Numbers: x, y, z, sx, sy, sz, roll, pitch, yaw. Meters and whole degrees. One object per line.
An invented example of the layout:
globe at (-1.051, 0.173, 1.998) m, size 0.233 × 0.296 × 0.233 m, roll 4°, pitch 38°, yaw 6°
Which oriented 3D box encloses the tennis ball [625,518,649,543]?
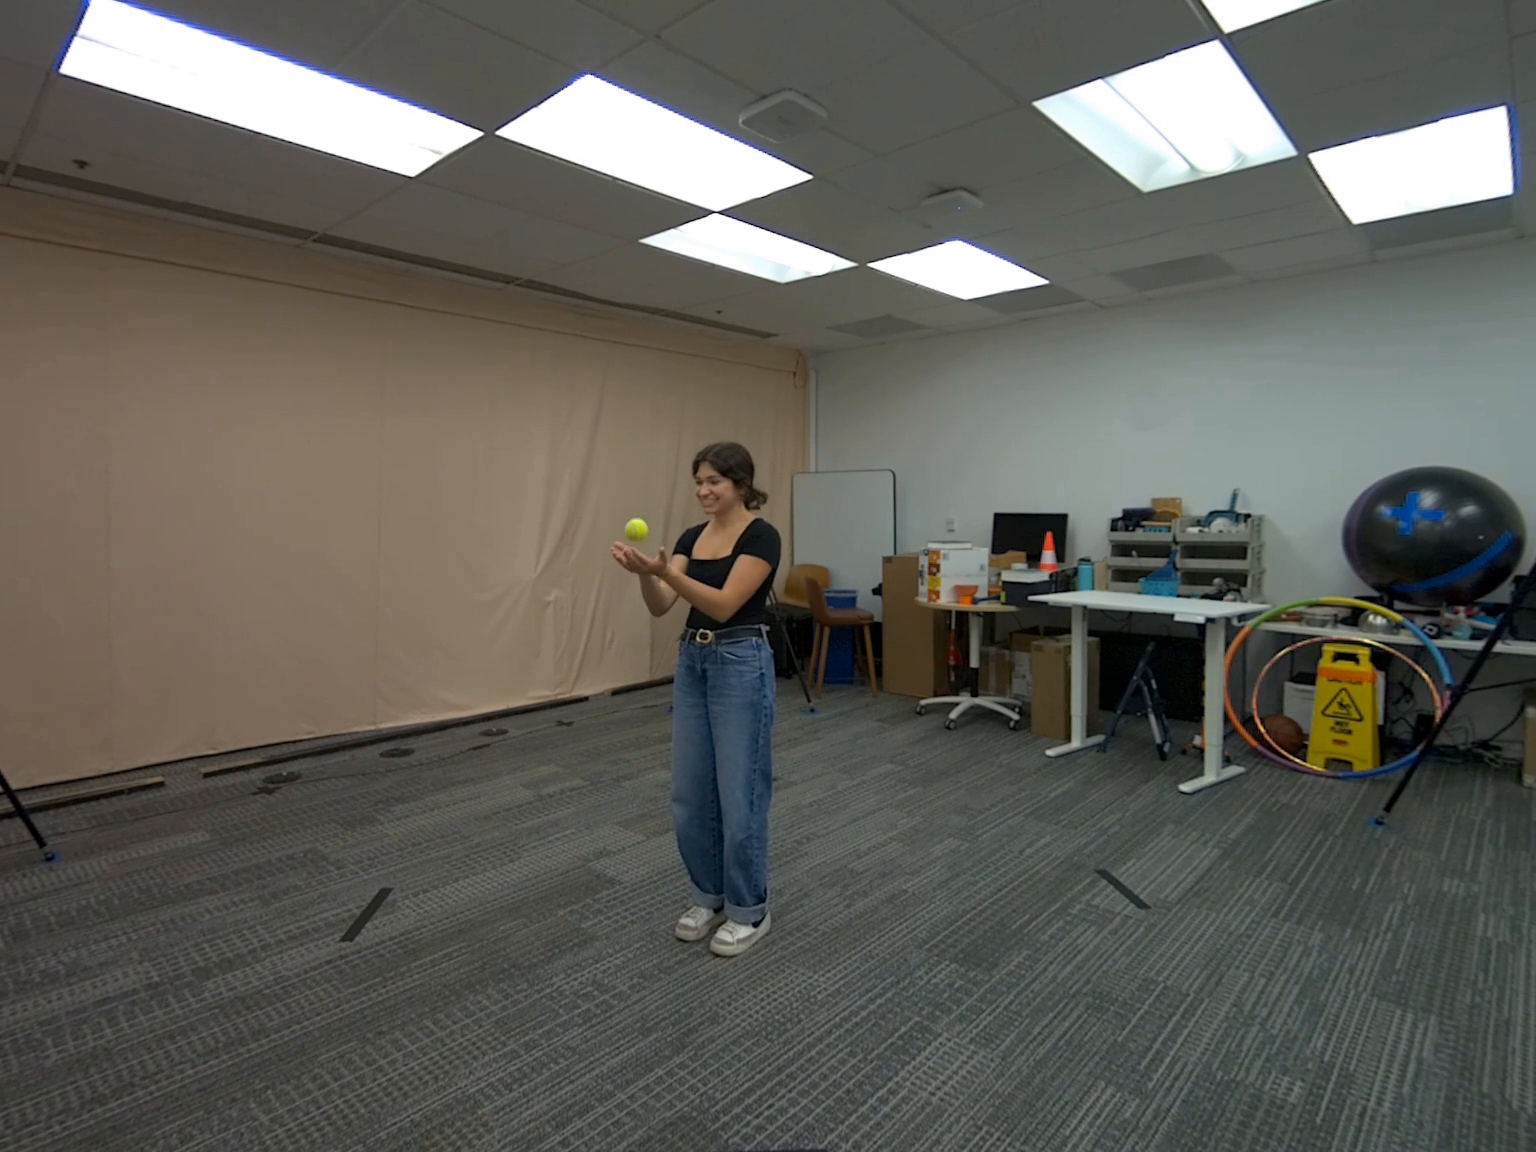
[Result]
tennis ball at (-0.373, -0.122, 2.414) m, size 0.066 × 0.066 × 0.067 m, roll 0°, pitch 4°, yaw -2°
